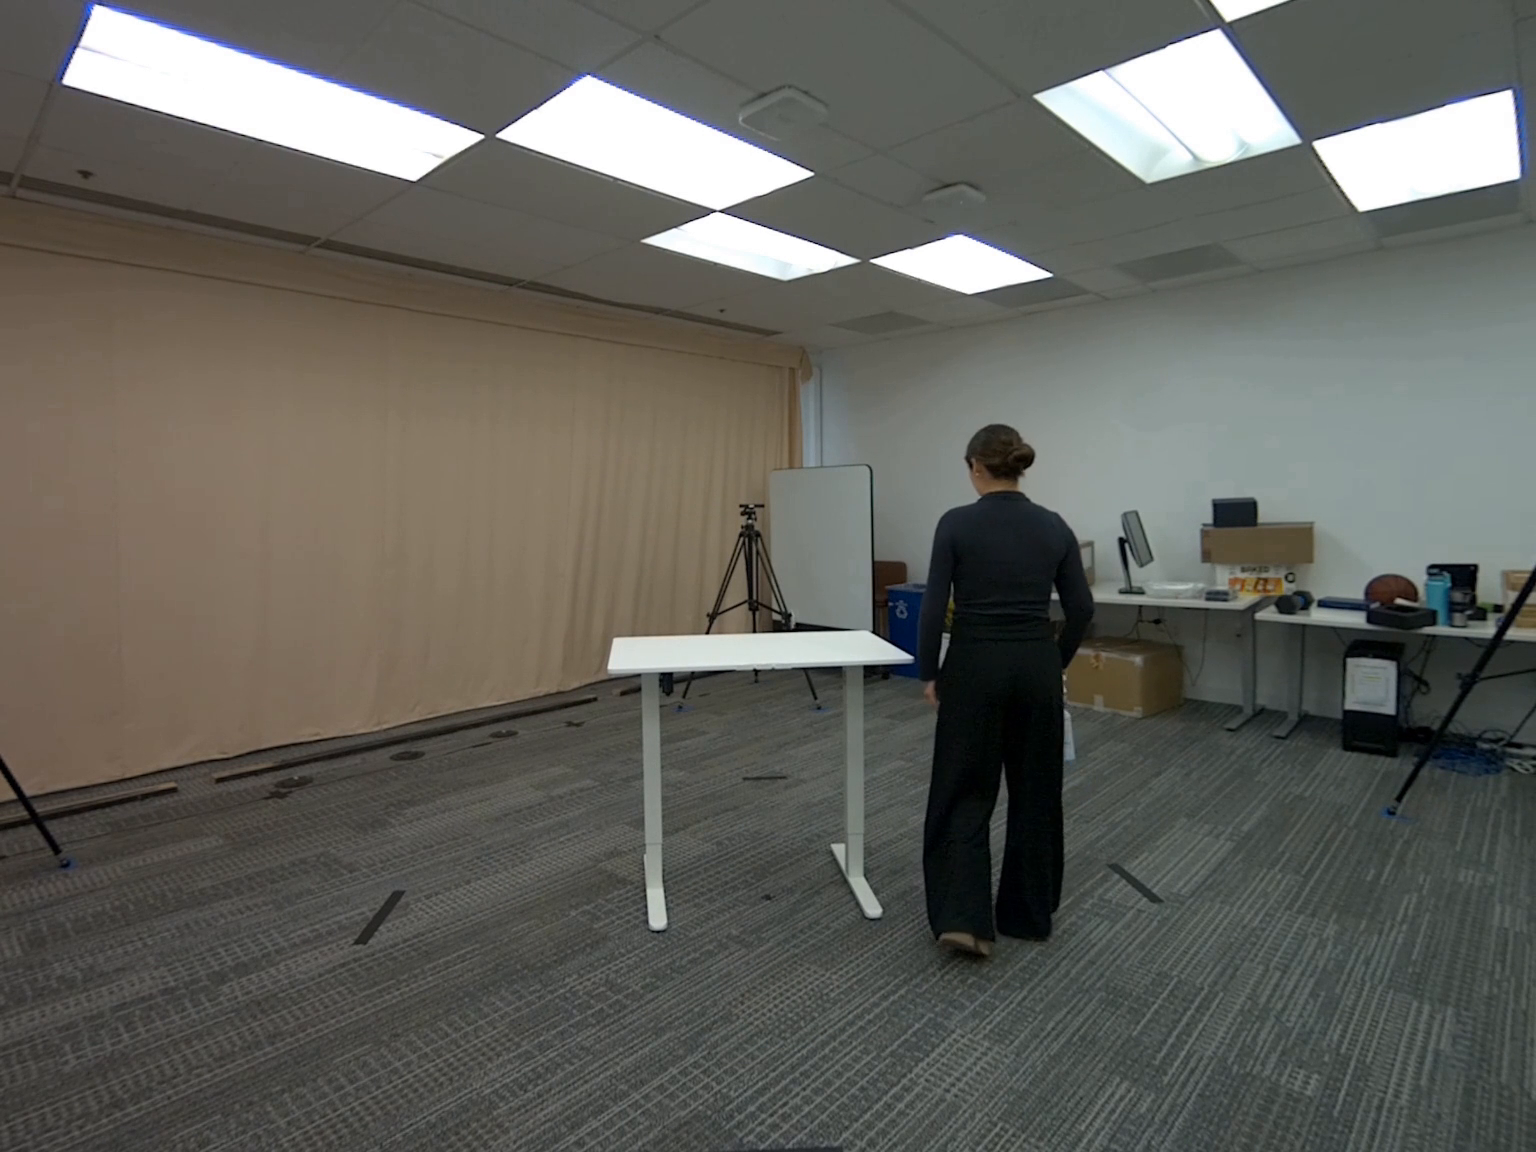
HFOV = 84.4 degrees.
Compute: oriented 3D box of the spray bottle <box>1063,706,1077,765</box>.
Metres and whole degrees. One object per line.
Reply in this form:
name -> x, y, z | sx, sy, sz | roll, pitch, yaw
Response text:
spray bottle -> 0.973, 0.477, 2.794 | 0.087, 0.296, 0.090 | -7, 6, -1
